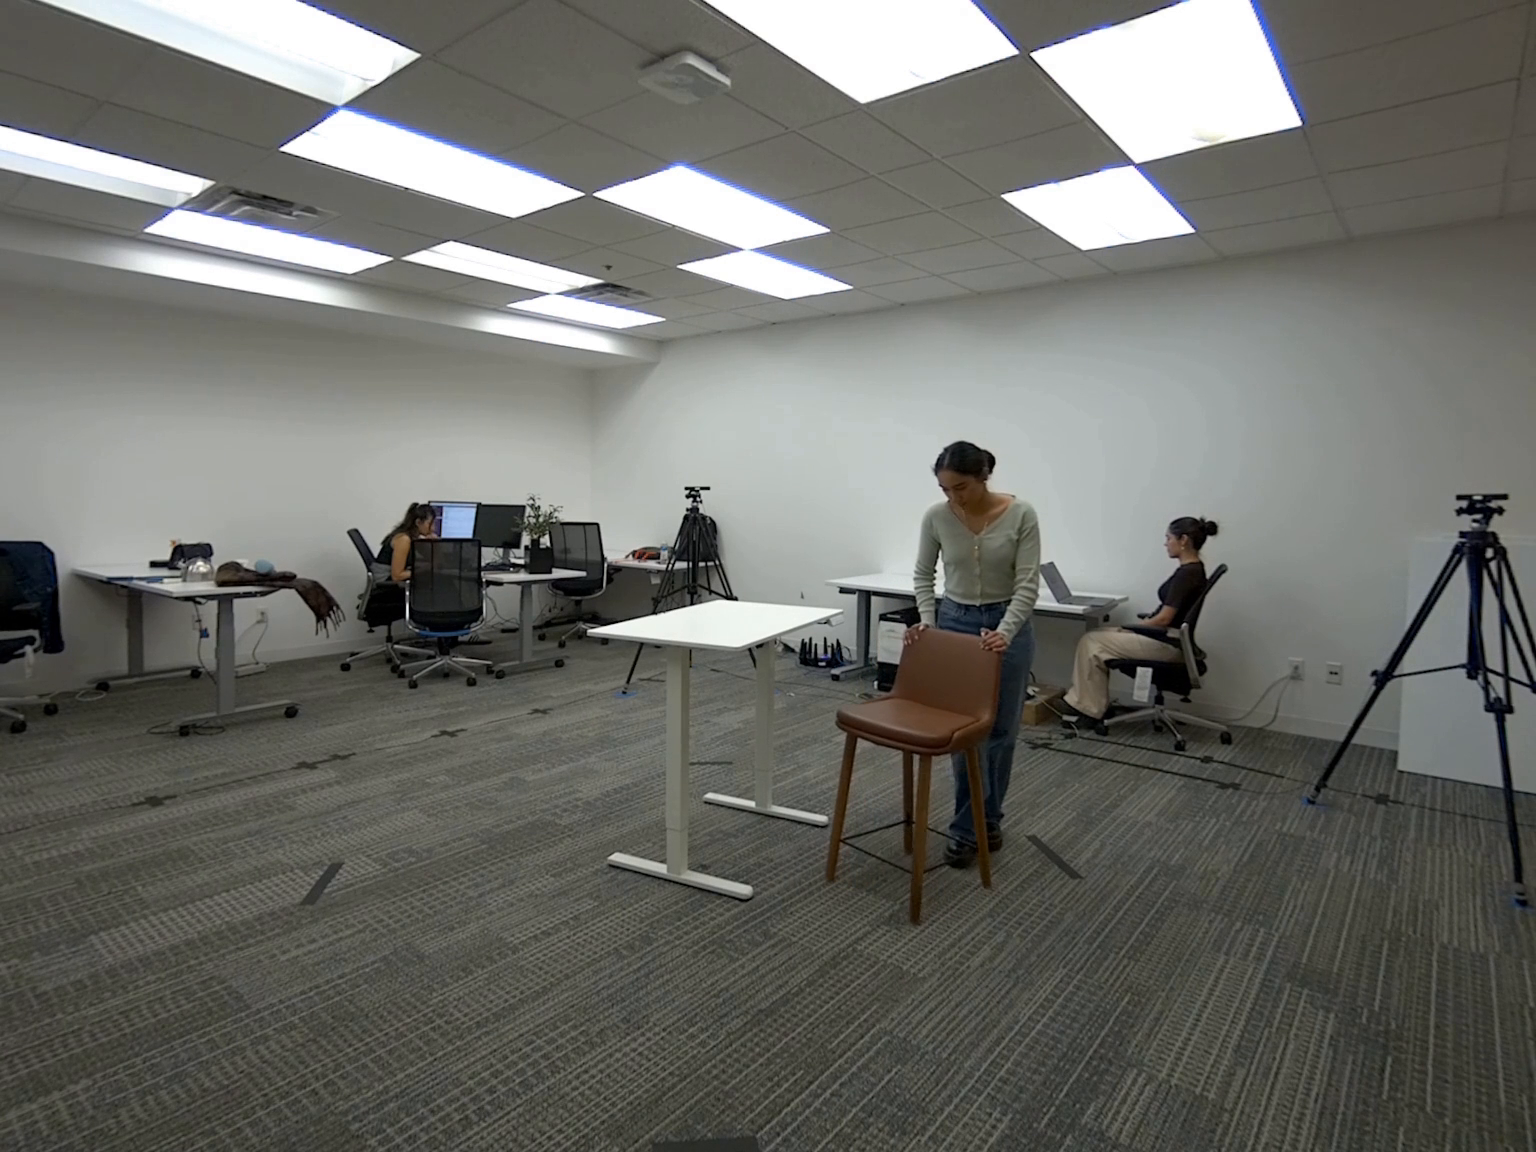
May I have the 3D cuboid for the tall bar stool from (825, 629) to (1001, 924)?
[{"bbox_3d":[0.515,0.648,3.002,0.453,0.888,0.472,2,3,-40],"label":"tall bar stool"}]
